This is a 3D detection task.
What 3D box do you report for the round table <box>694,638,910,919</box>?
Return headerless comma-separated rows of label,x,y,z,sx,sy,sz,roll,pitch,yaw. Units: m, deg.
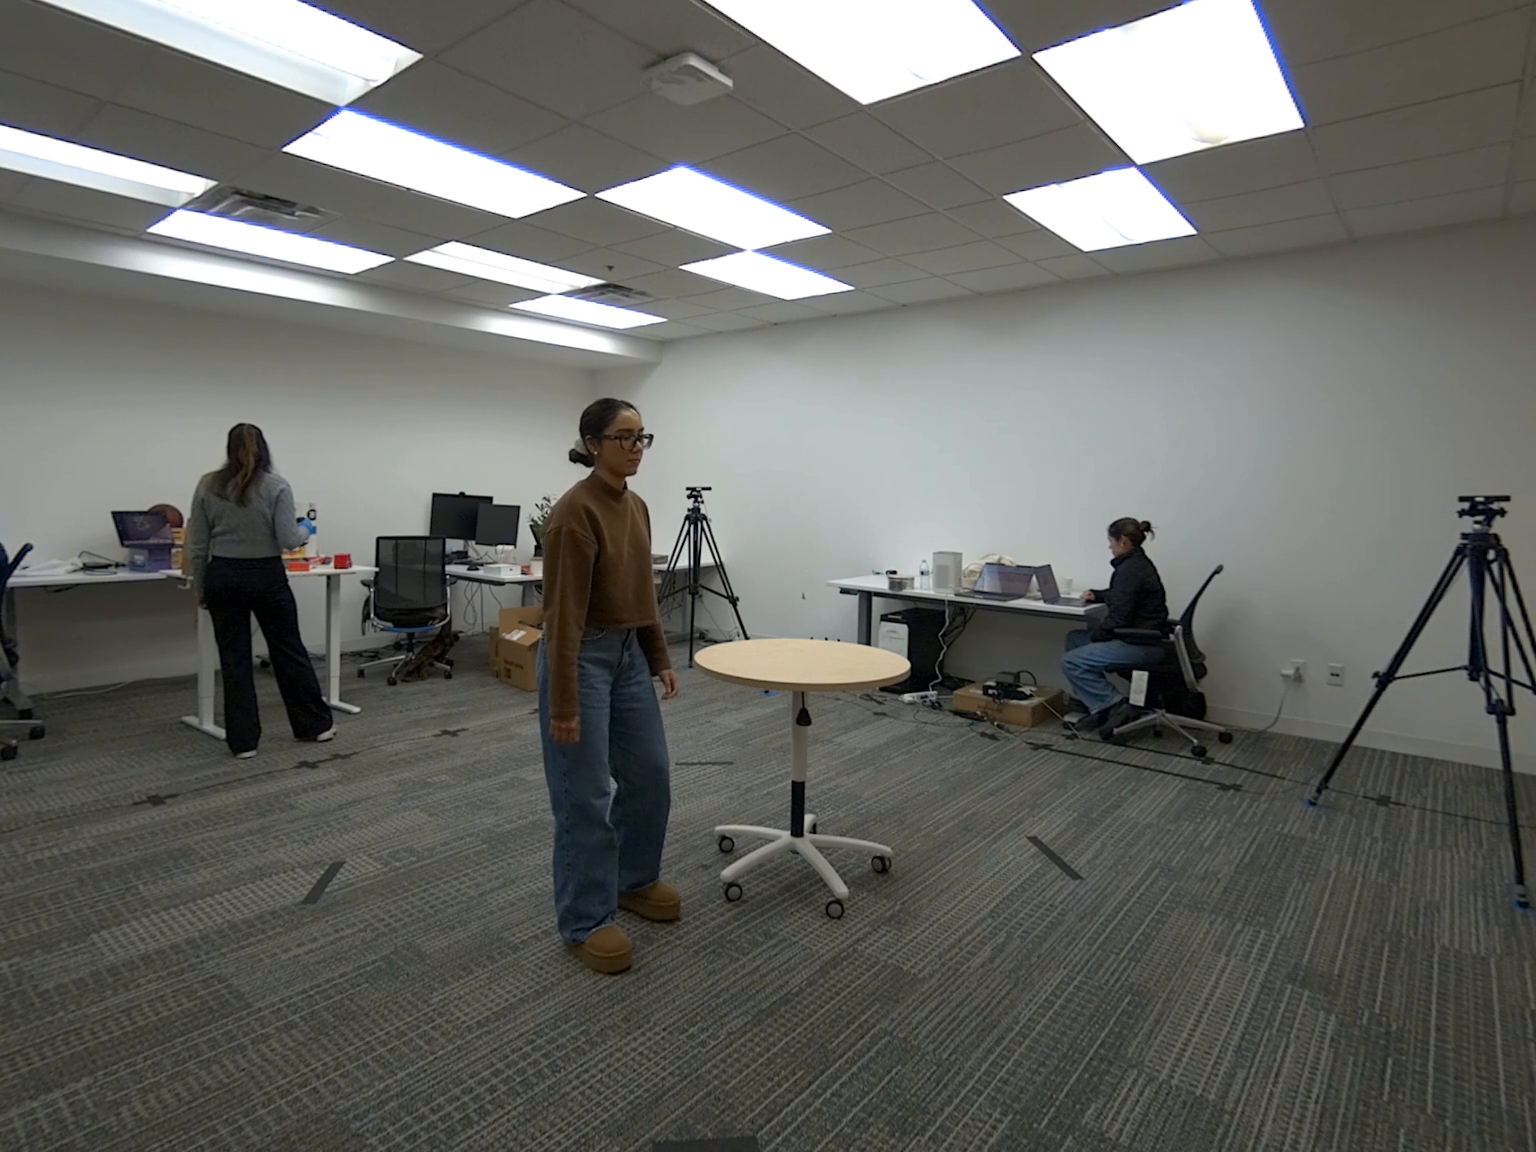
round table,0.105,0.686,3.065,0.763,0.791,0.768,1,4,-2
